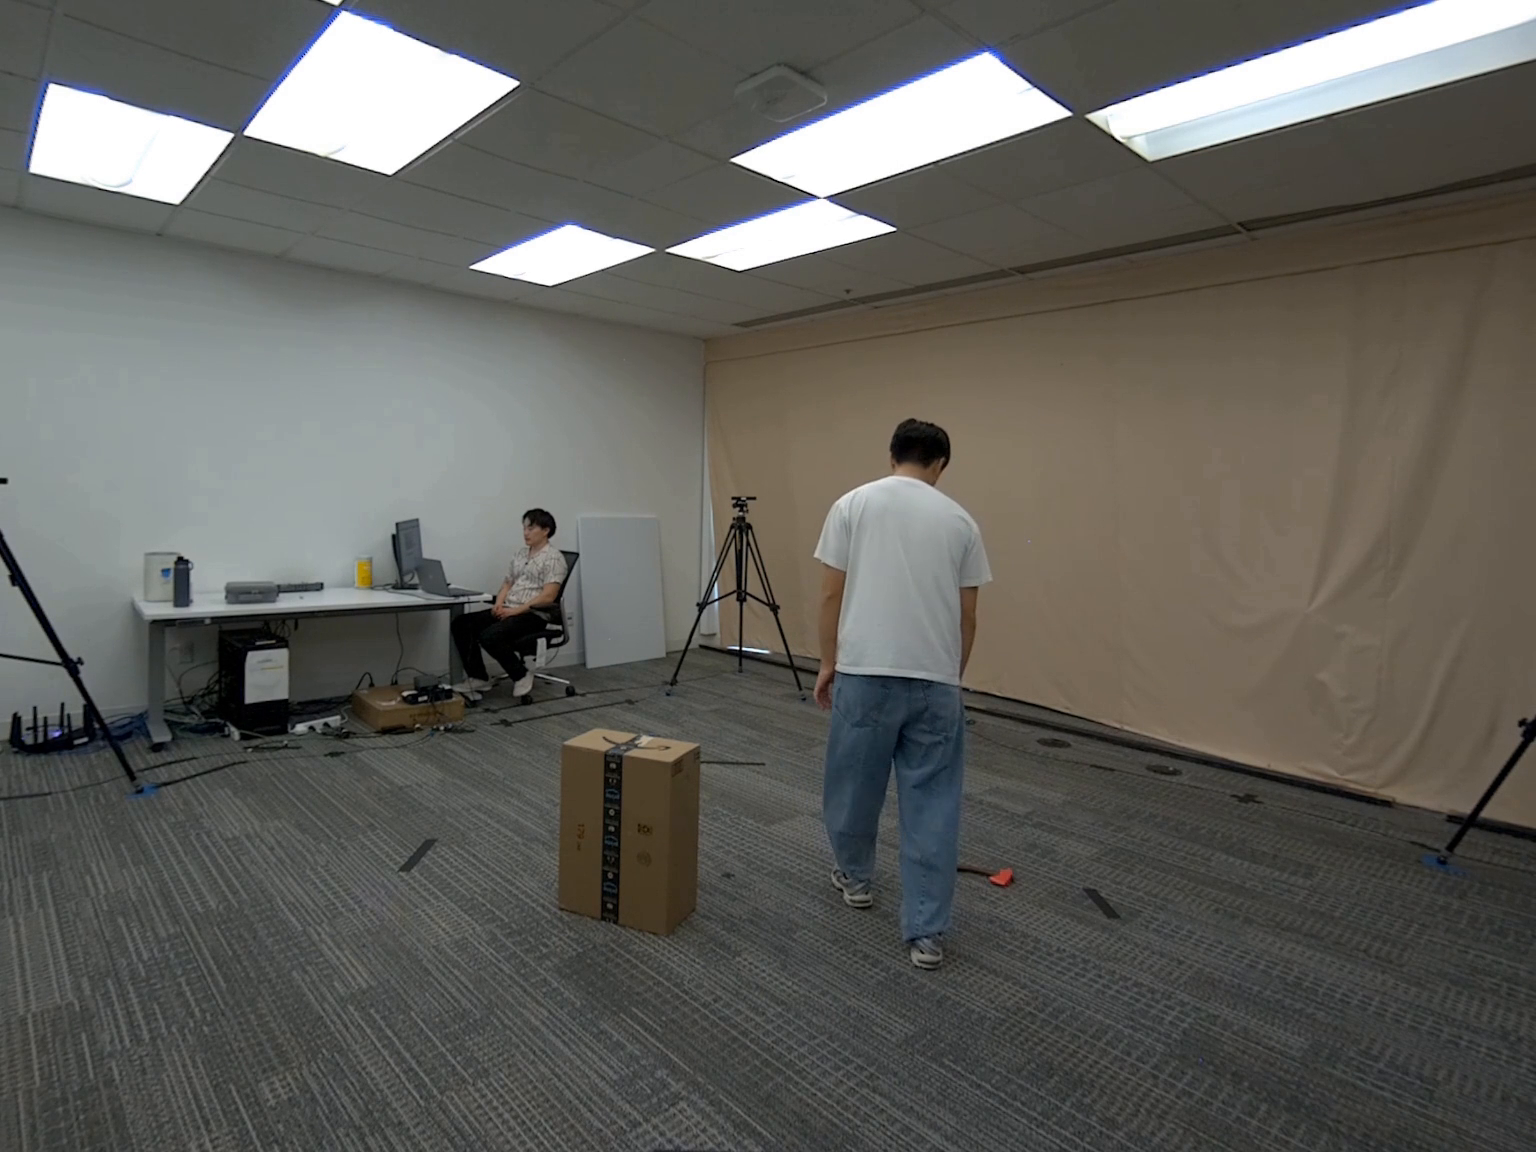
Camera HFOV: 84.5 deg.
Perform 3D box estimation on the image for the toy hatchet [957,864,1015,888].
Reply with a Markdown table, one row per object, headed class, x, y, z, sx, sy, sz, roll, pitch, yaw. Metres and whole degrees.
| class | x | y | z | sx | sy | sz | roll | pitch | yaw |
| --- | --- | --- | --- | --- | --- | --- | --- | --- | --- |
| toy hatchet | 0.770 | 1.113 | 3.144 | 0.272 | 0.029 | 0.131 | 0 | 9 | 10 |
